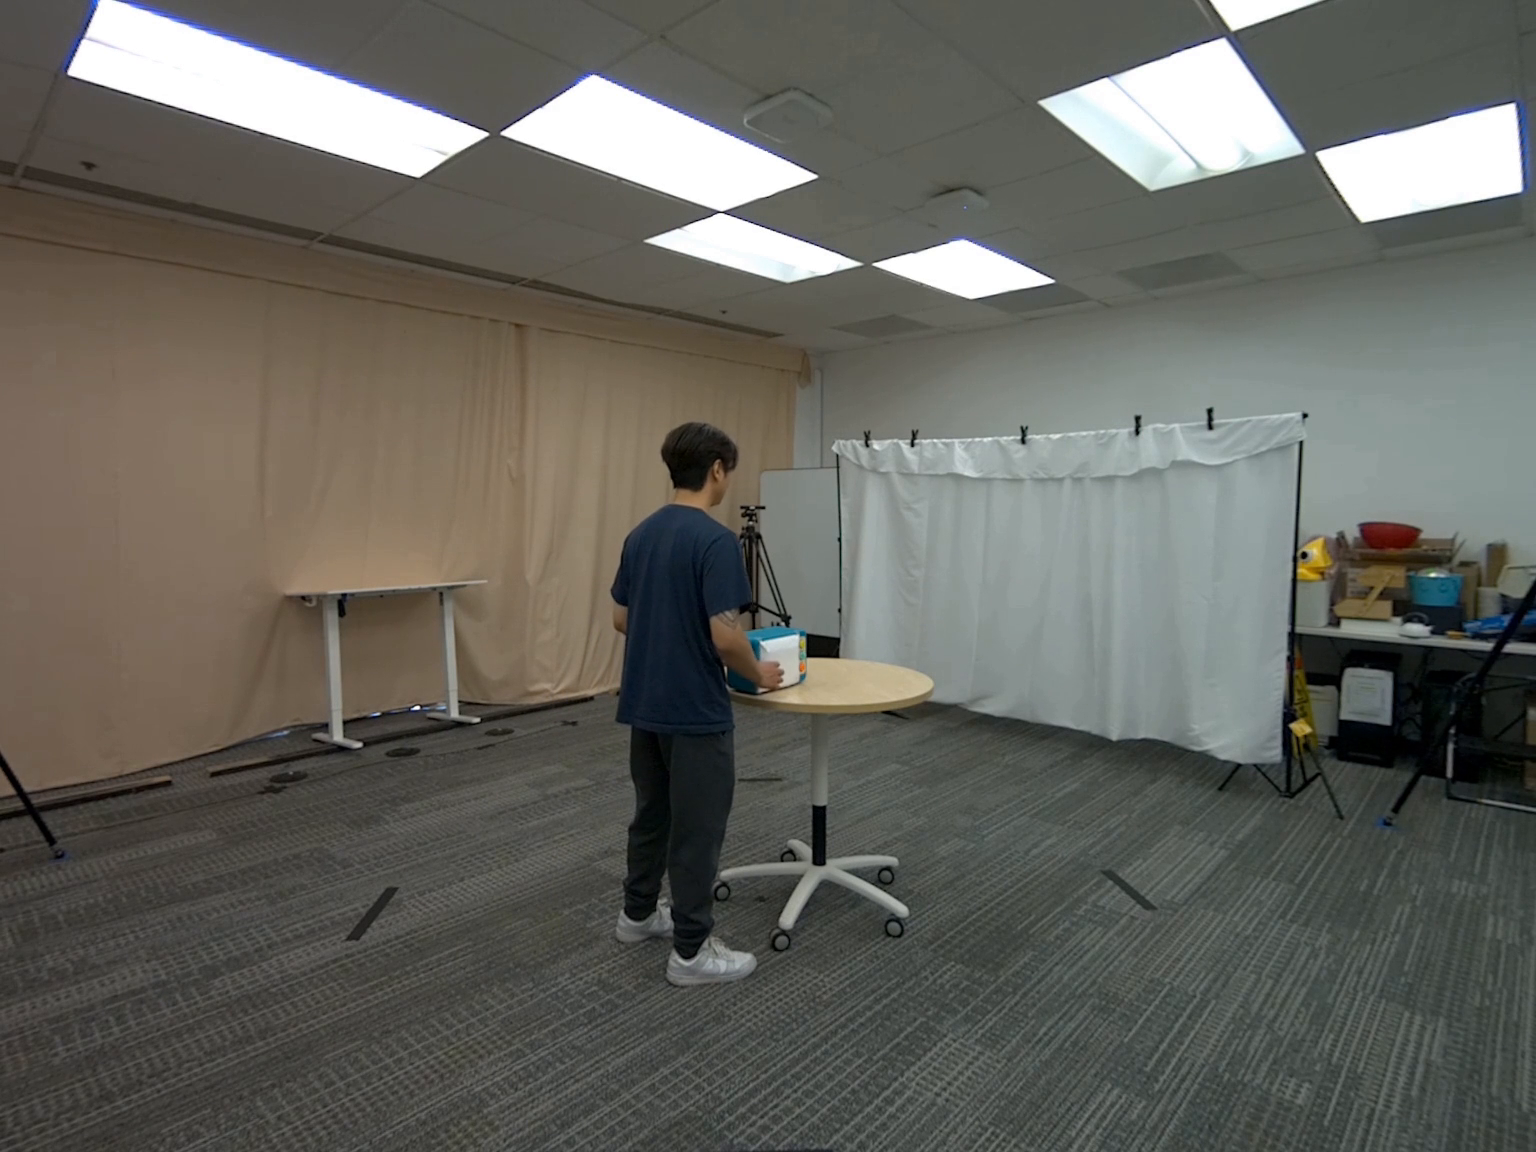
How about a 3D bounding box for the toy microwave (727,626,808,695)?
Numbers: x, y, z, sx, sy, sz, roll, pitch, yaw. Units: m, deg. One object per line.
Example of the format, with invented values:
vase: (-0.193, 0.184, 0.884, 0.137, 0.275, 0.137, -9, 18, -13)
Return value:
toy microwave: (0.014, 0.278, 2.770, 0.157, 0.183, 0.278, 4, 6, 38)
